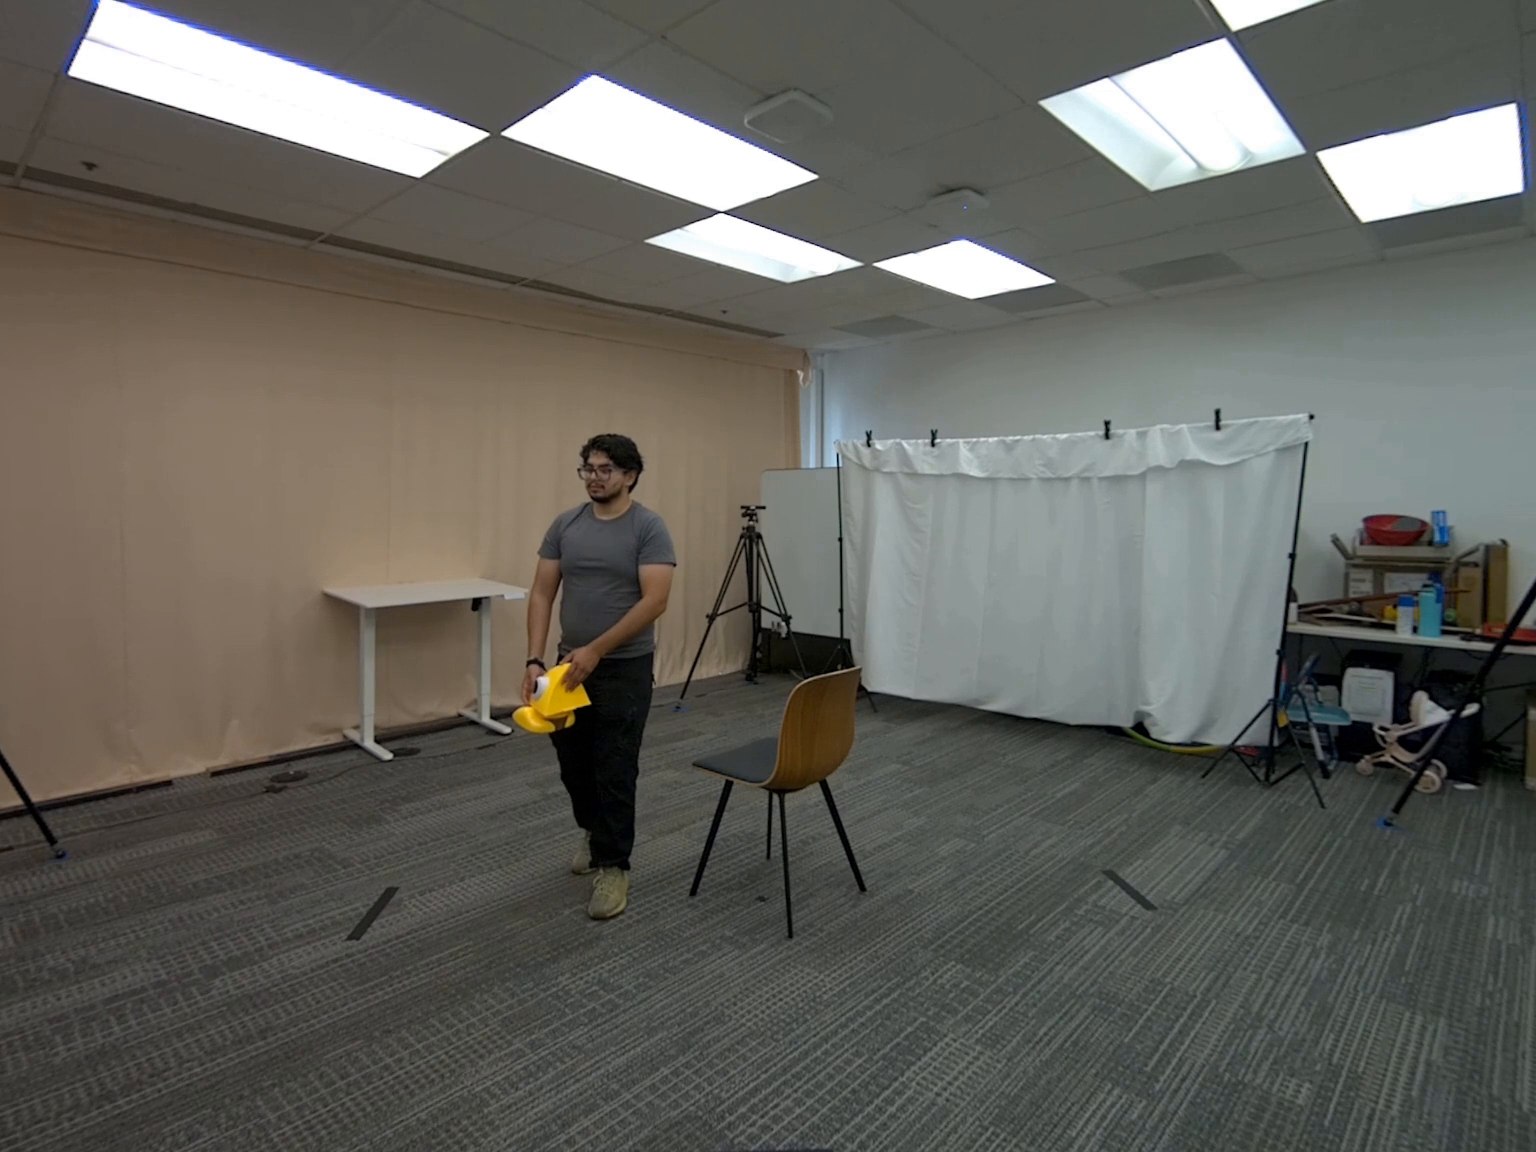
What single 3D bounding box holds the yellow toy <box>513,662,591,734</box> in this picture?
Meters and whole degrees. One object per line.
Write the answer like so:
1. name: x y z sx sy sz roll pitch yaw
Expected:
1. yellow toy: -0.712 0.377 2.799 0.199 0.229 0.199 20 14 32
